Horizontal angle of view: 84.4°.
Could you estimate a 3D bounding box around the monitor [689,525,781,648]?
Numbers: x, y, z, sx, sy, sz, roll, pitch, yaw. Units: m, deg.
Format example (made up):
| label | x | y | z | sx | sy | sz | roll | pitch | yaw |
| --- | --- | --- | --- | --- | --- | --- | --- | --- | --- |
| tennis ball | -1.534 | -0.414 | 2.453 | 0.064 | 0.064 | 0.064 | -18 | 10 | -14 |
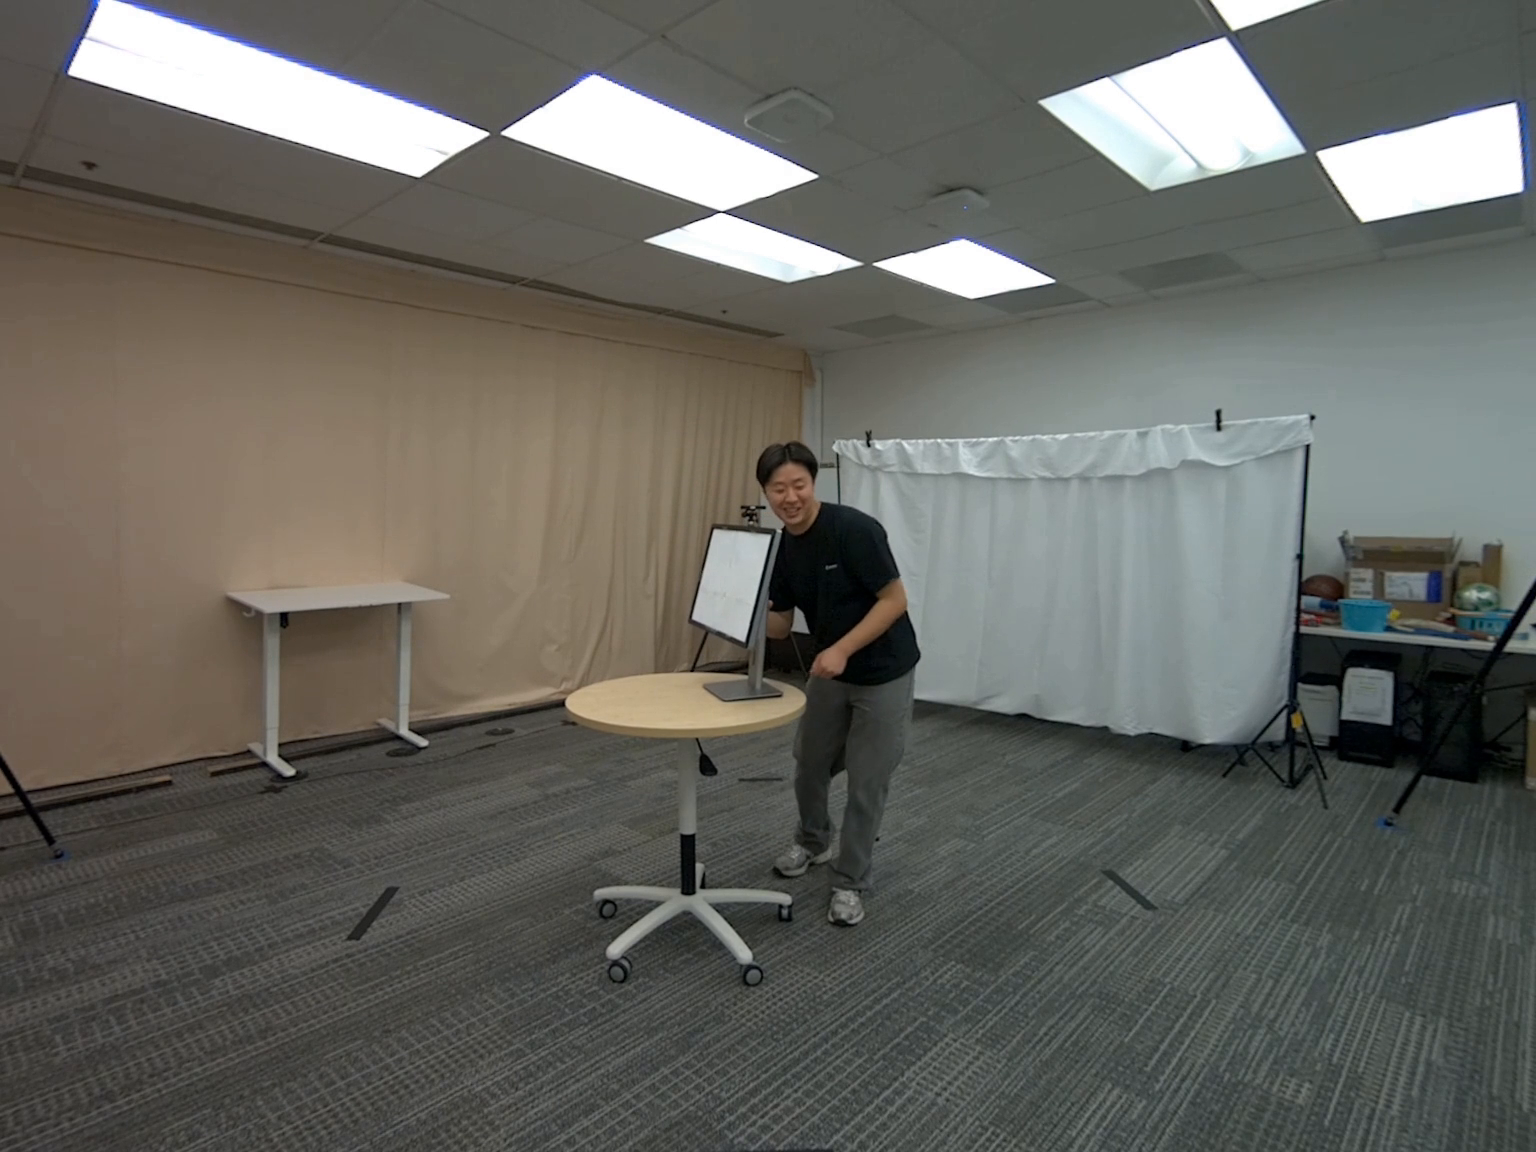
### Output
| label | x | y | z | sx | sy | sz | roll | pitch | yaw |
| --- | --- | --- | --- | --- | --- | --- | --- | --- | --- |
| monitor | -0.089 | 0.120 | 2.749 | 0.218 | 0.565 | 0.574 | -2 | 4 | -20 |
